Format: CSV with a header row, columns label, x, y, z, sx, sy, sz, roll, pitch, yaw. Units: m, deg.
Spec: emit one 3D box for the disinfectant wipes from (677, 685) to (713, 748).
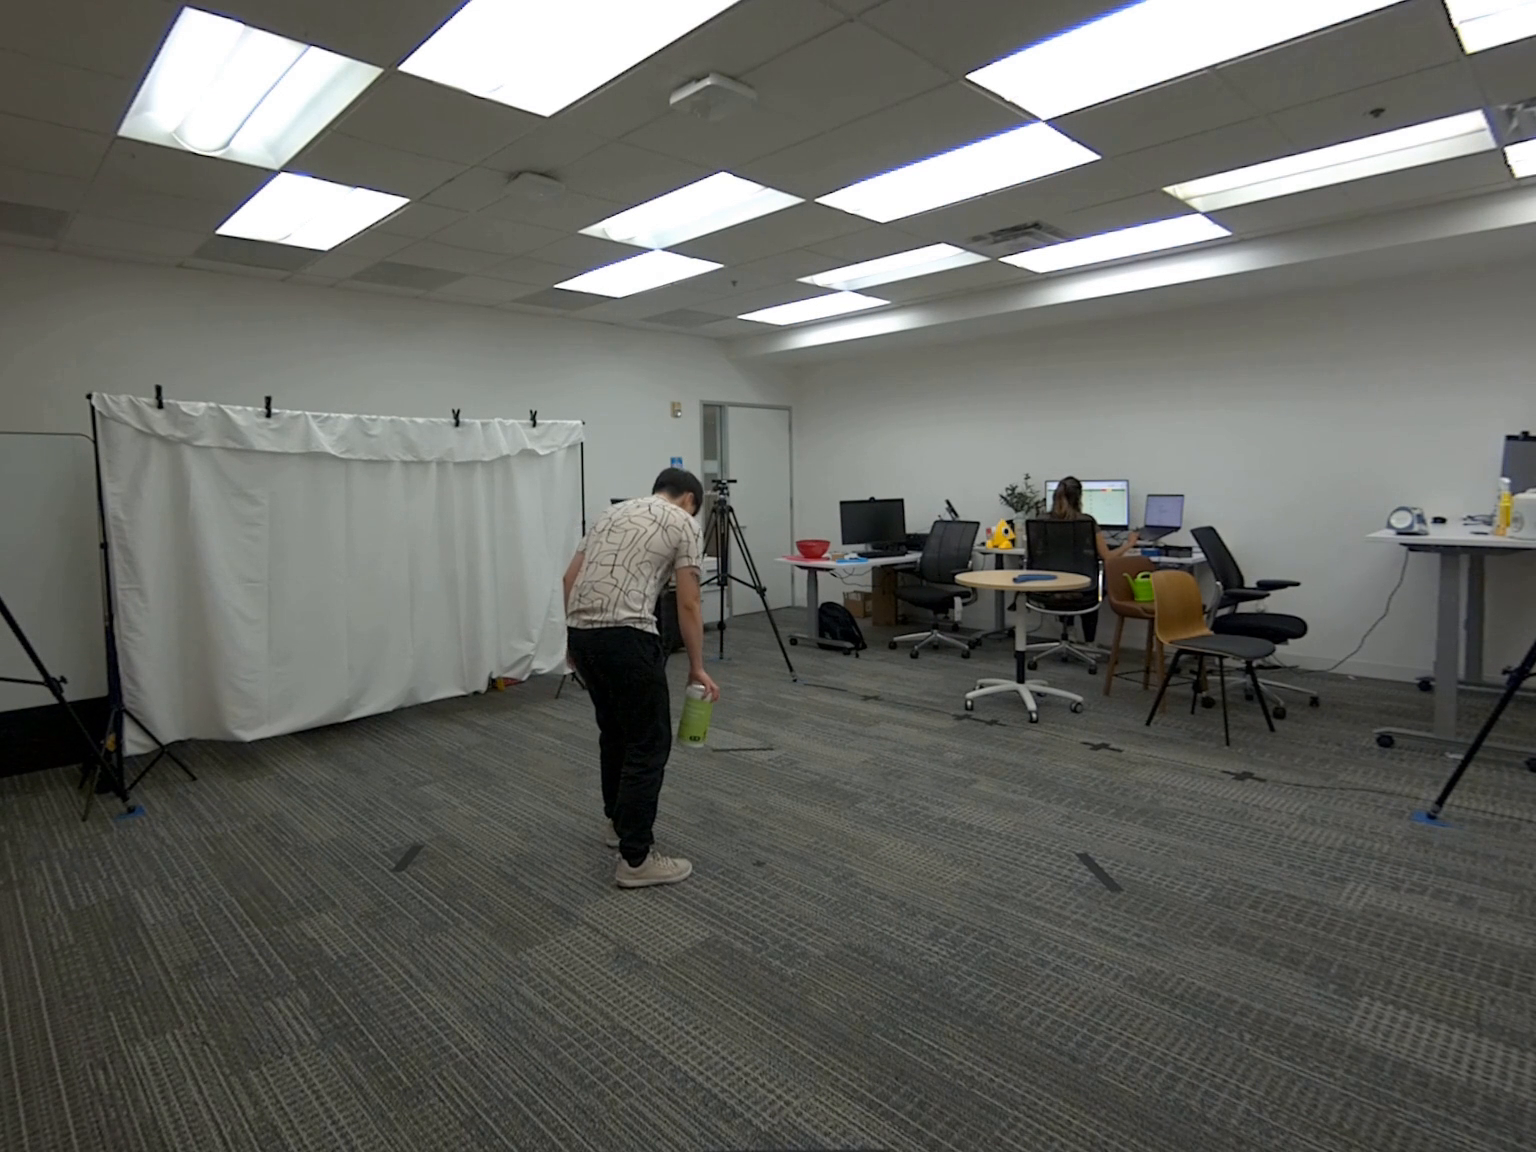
label,x,y,z,sx,sy,sz,roll,pitch,yaw
disinfectant wipes,-0.270,0.531,3.232,0.117,0.217,0.118,11,5,-3
